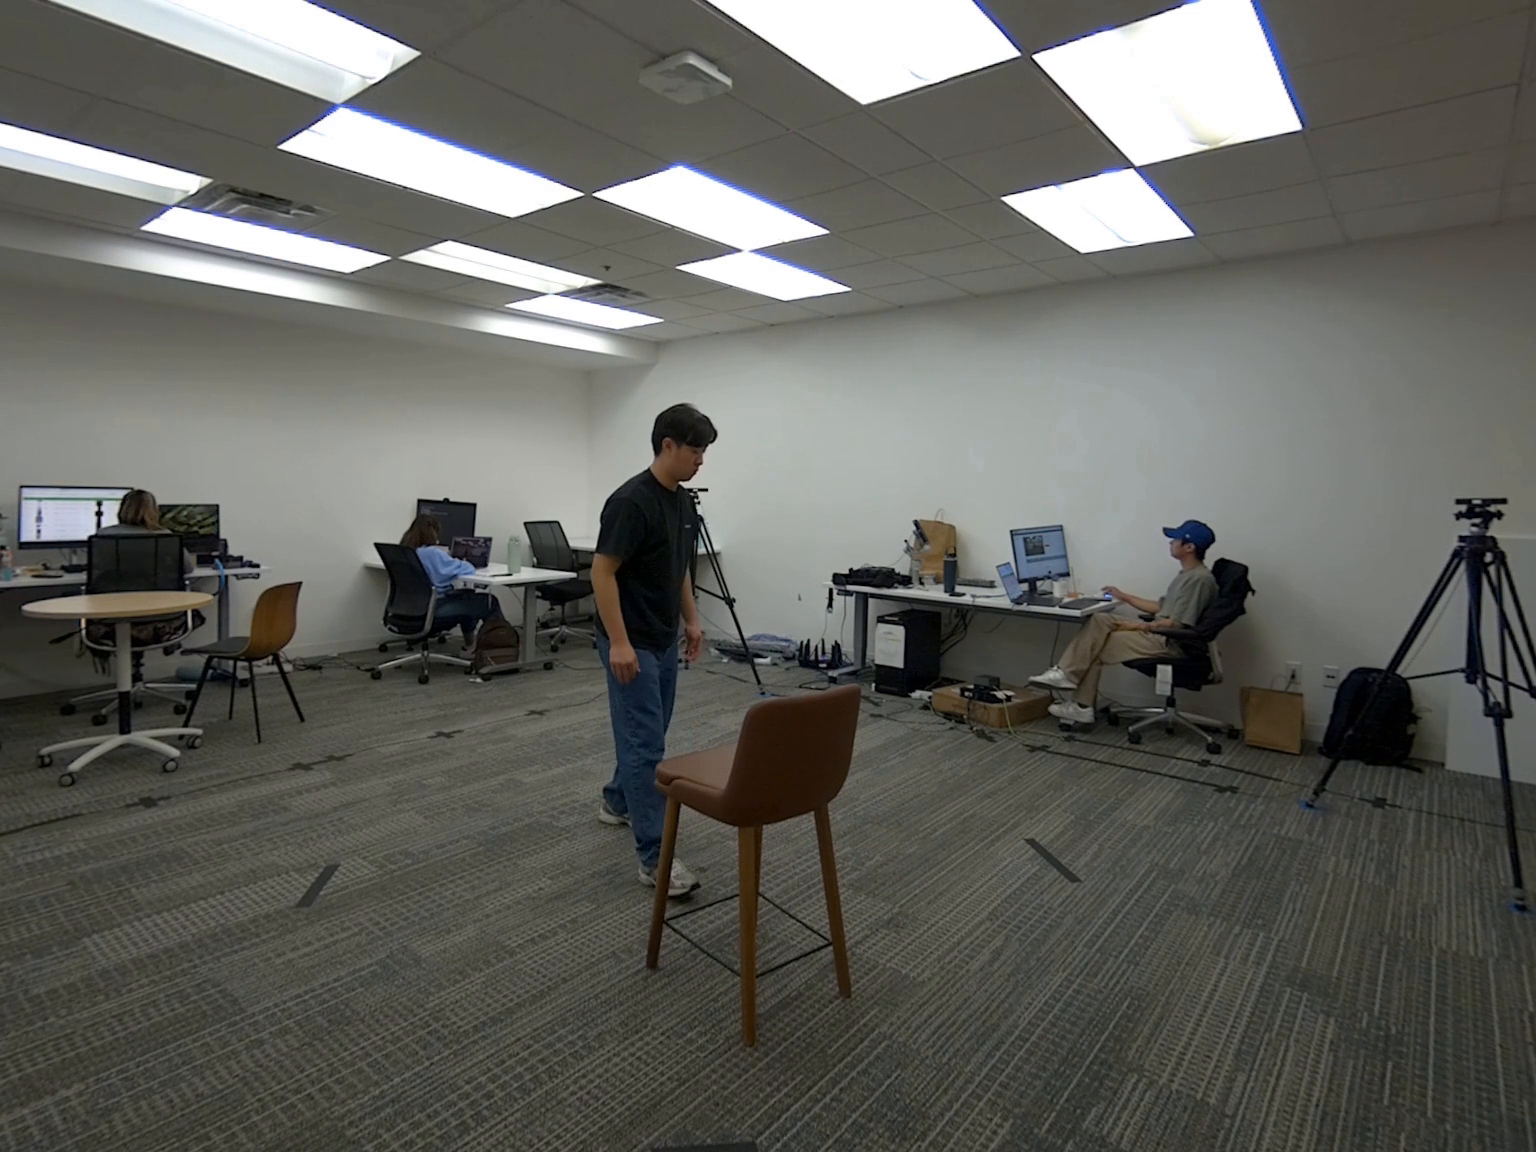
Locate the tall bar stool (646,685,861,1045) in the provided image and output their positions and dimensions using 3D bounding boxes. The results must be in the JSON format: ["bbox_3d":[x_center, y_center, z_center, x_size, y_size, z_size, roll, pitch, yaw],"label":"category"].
[{"bbox_3d":[-0.044,0.707,2.387,0.443,0.886,0.484,-1,6,-40],"label":"tall bar stool"}]
